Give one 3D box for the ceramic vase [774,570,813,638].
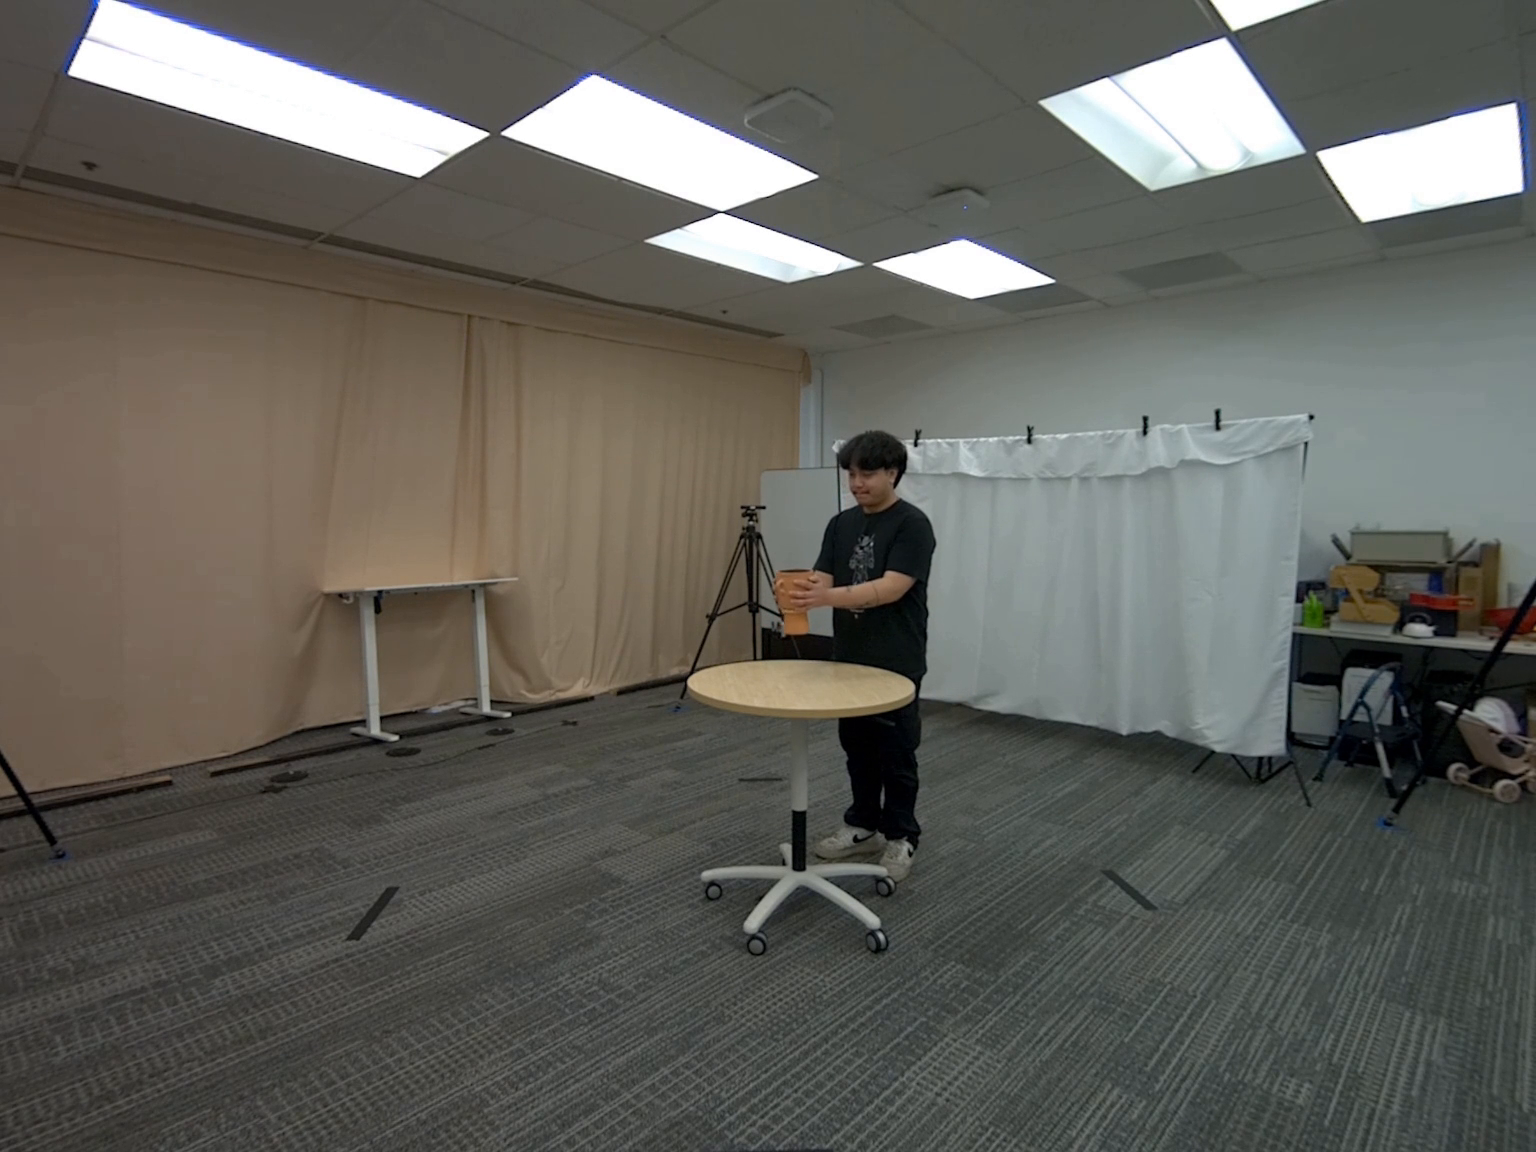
[{"bbox_3d":[0.104,0.092,3.000,0.157,0.219,0.136,-2,6,-9],"label":"ceramic vase"}]
